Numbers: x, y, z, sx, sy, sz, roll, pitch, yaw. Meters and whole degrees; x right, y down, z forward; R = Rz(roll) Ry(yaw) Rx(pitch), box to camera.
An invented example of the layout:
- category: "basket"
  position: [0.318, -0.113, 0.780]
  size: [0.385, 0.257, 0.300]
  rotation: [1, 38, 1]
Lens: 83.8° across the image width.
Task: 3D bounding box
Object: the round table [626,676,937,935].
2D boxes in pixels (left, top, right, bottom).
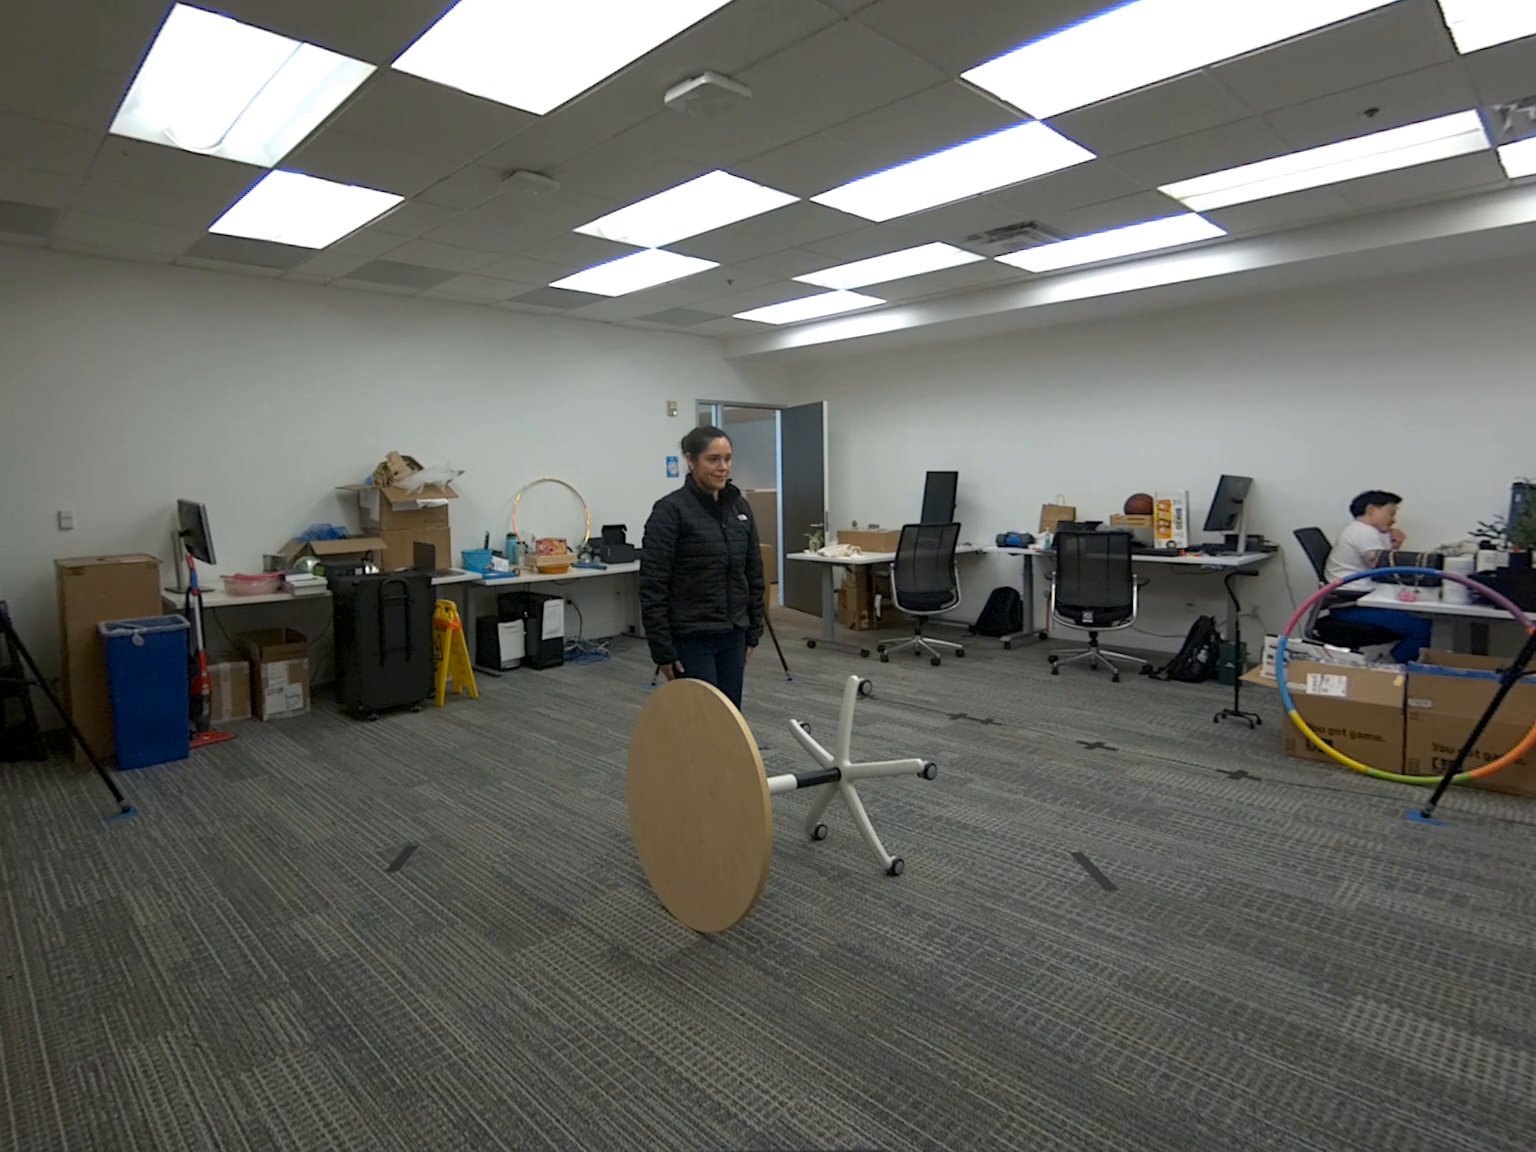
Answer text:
- category: "round table"
  position: [0.043, 0.722, 2.951]
  size: [0.763, 0.785, 0.809]
  rotation: [3, 1, -39]
